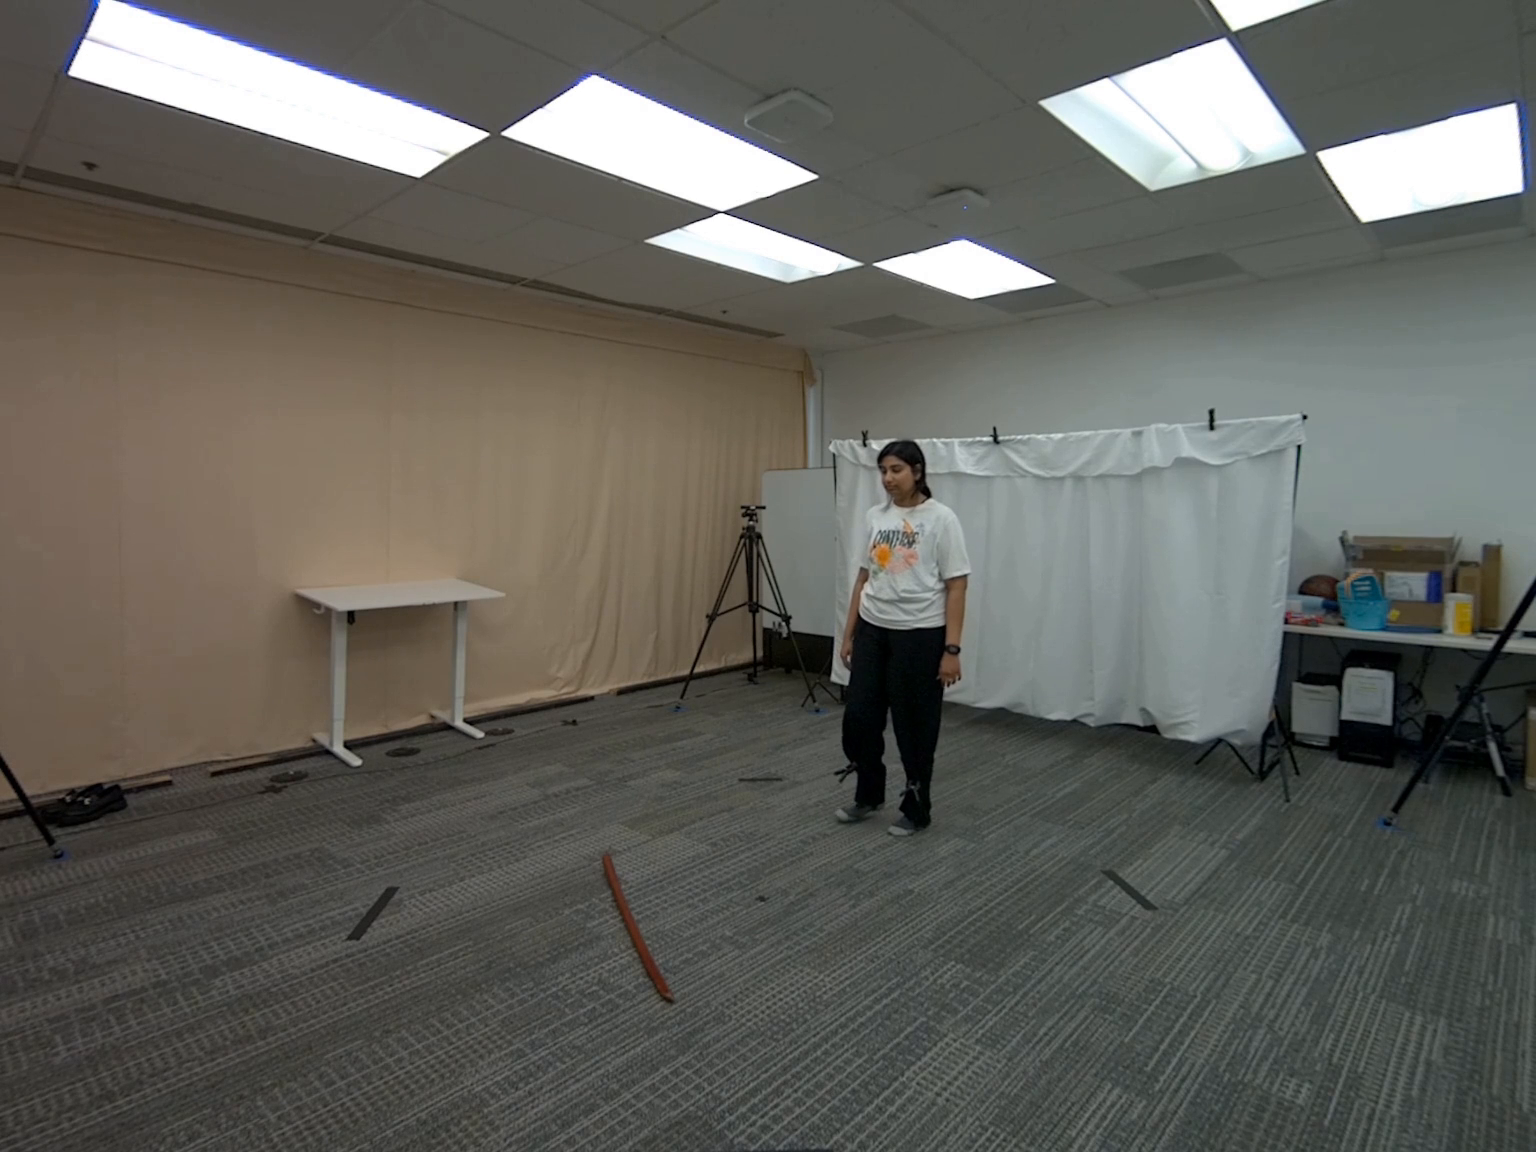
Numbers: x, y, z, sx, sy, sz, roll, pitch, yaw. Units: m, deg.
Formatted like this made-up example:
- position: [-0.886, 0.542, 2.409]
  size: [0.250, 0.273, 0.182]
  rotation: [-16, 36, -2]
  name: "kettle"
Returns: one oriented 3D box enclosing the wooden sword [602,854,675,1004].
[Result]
- position: [-0.455, 1.139, 2.840]
  size: [0.050, 0.024, 1.047]
  rotation: [4, 3, -20]
  name: "wooden sword"
